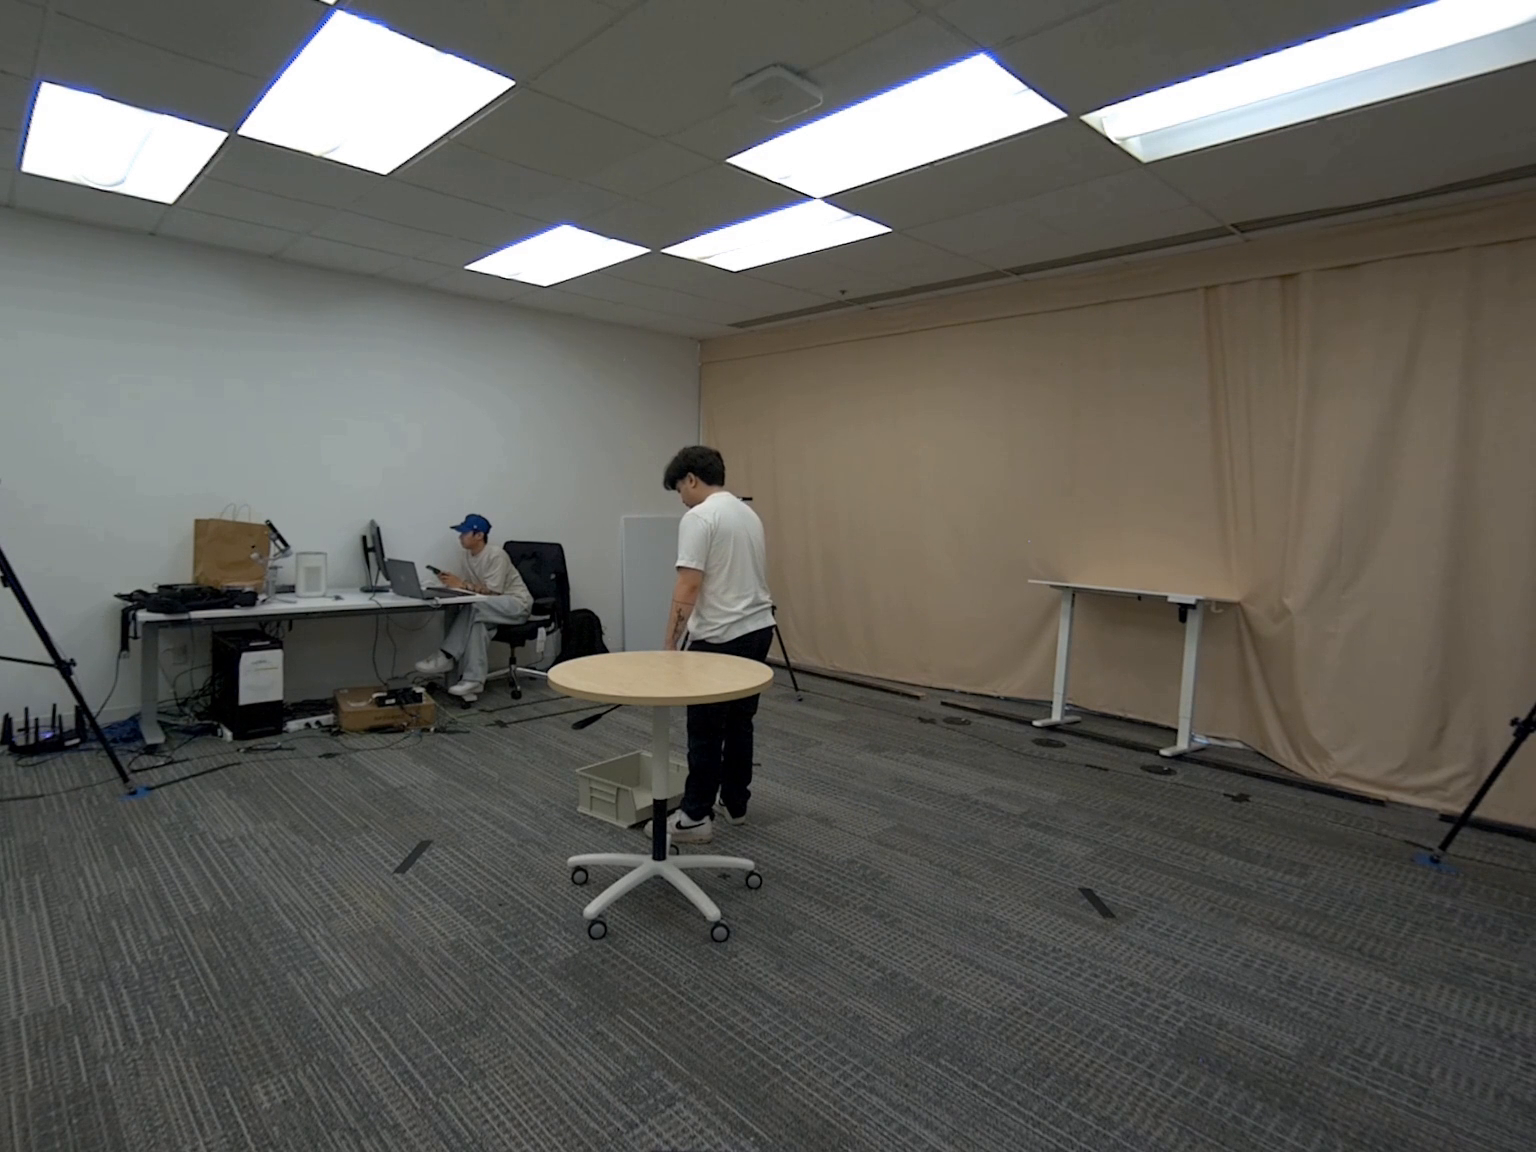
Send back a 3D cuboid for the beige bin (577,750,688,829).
[{"bbox_3d":[-0.578,0.945,3.760,0.386,0.188,0.413,4,6,37],"label":"beige bin"}]
